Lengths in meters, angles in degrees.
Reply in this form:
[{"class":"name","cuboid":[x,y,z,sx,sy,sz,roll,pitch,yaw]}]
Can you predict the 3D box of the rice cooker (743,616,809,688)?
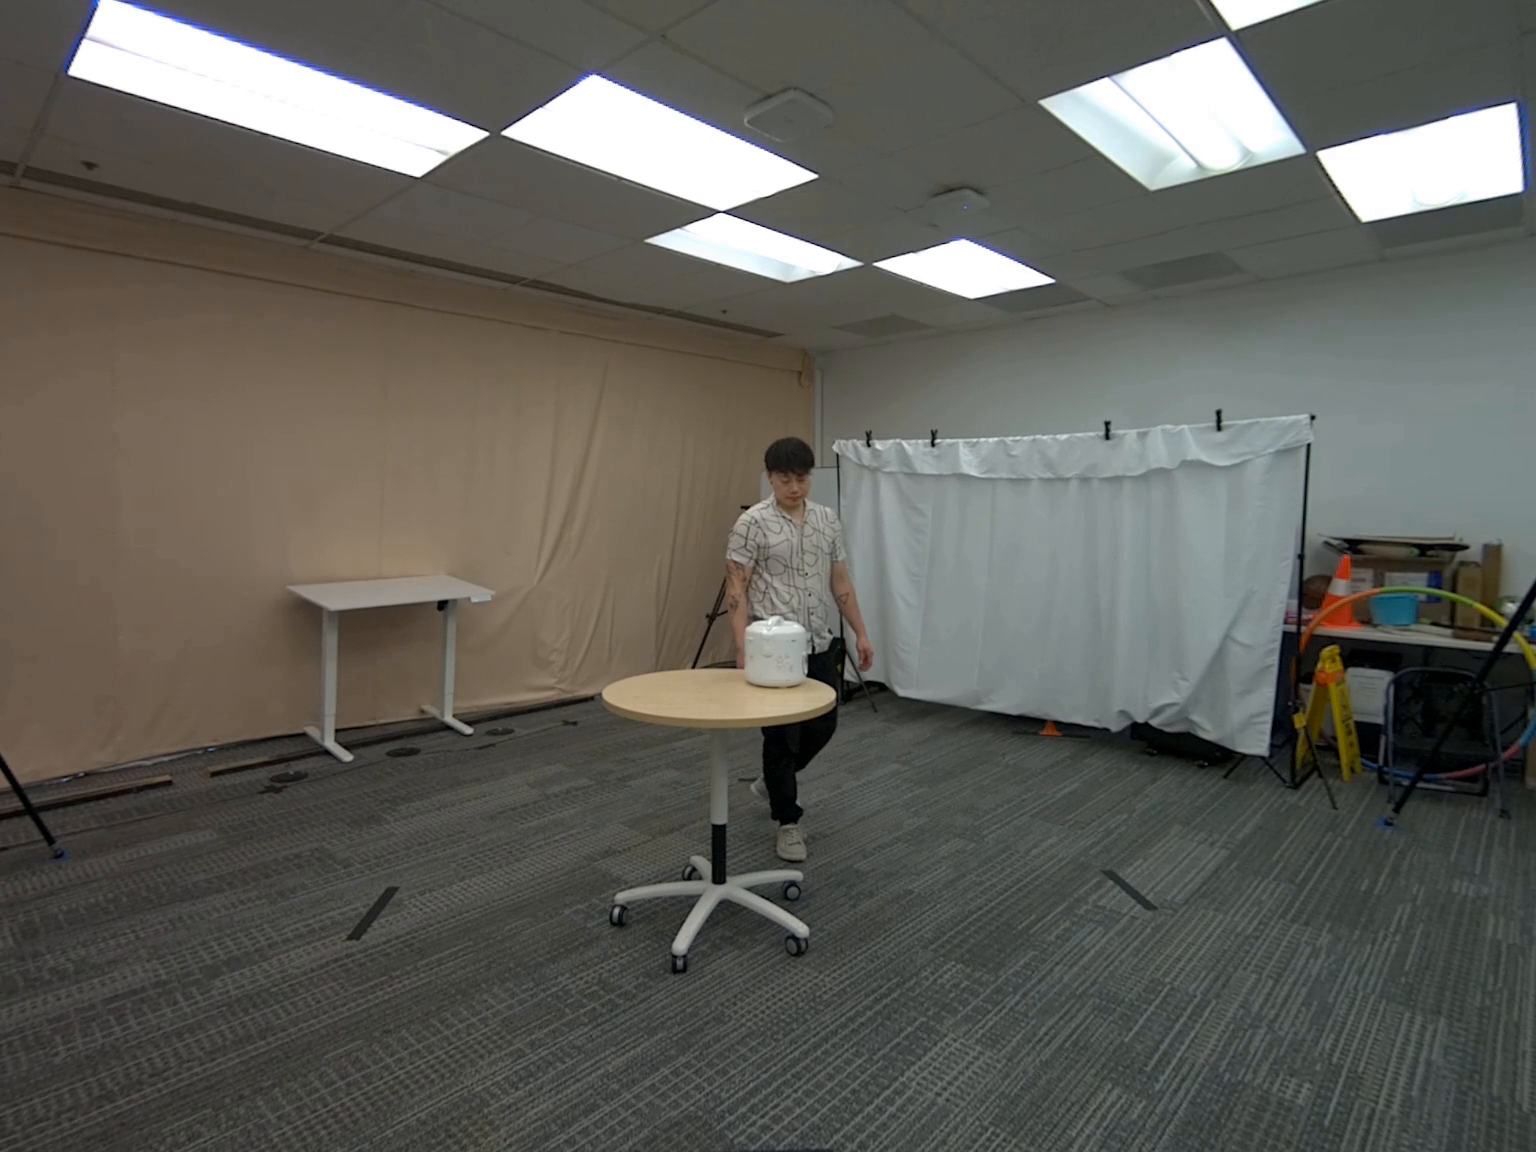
[{"class":"rice cooker","cuboid":[0.022,0.251,2.893,0.222,0.232,0.217,0,4,18]}]
